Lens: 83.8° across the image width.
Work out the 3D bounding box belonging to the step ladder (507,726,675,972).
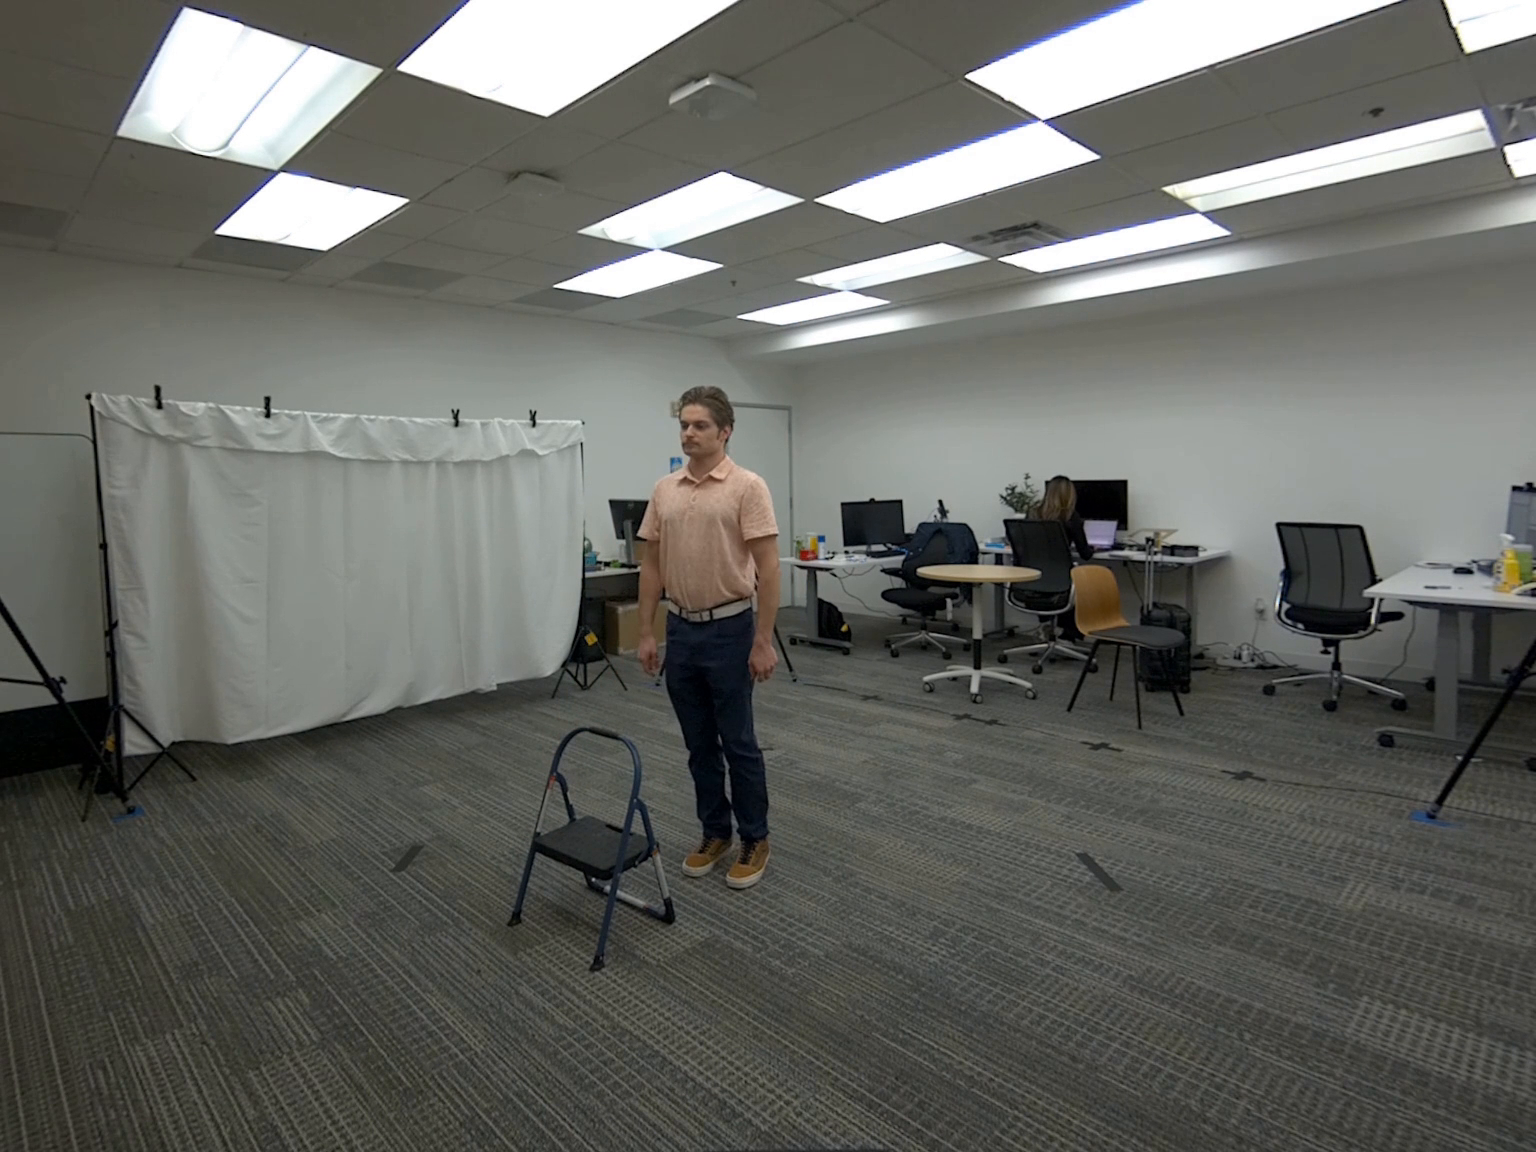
[{"bbox_3d":[-0.560,0.804,2.691,0.443,0.603,0.340,3,6,39],"label":"step ladder"}]
